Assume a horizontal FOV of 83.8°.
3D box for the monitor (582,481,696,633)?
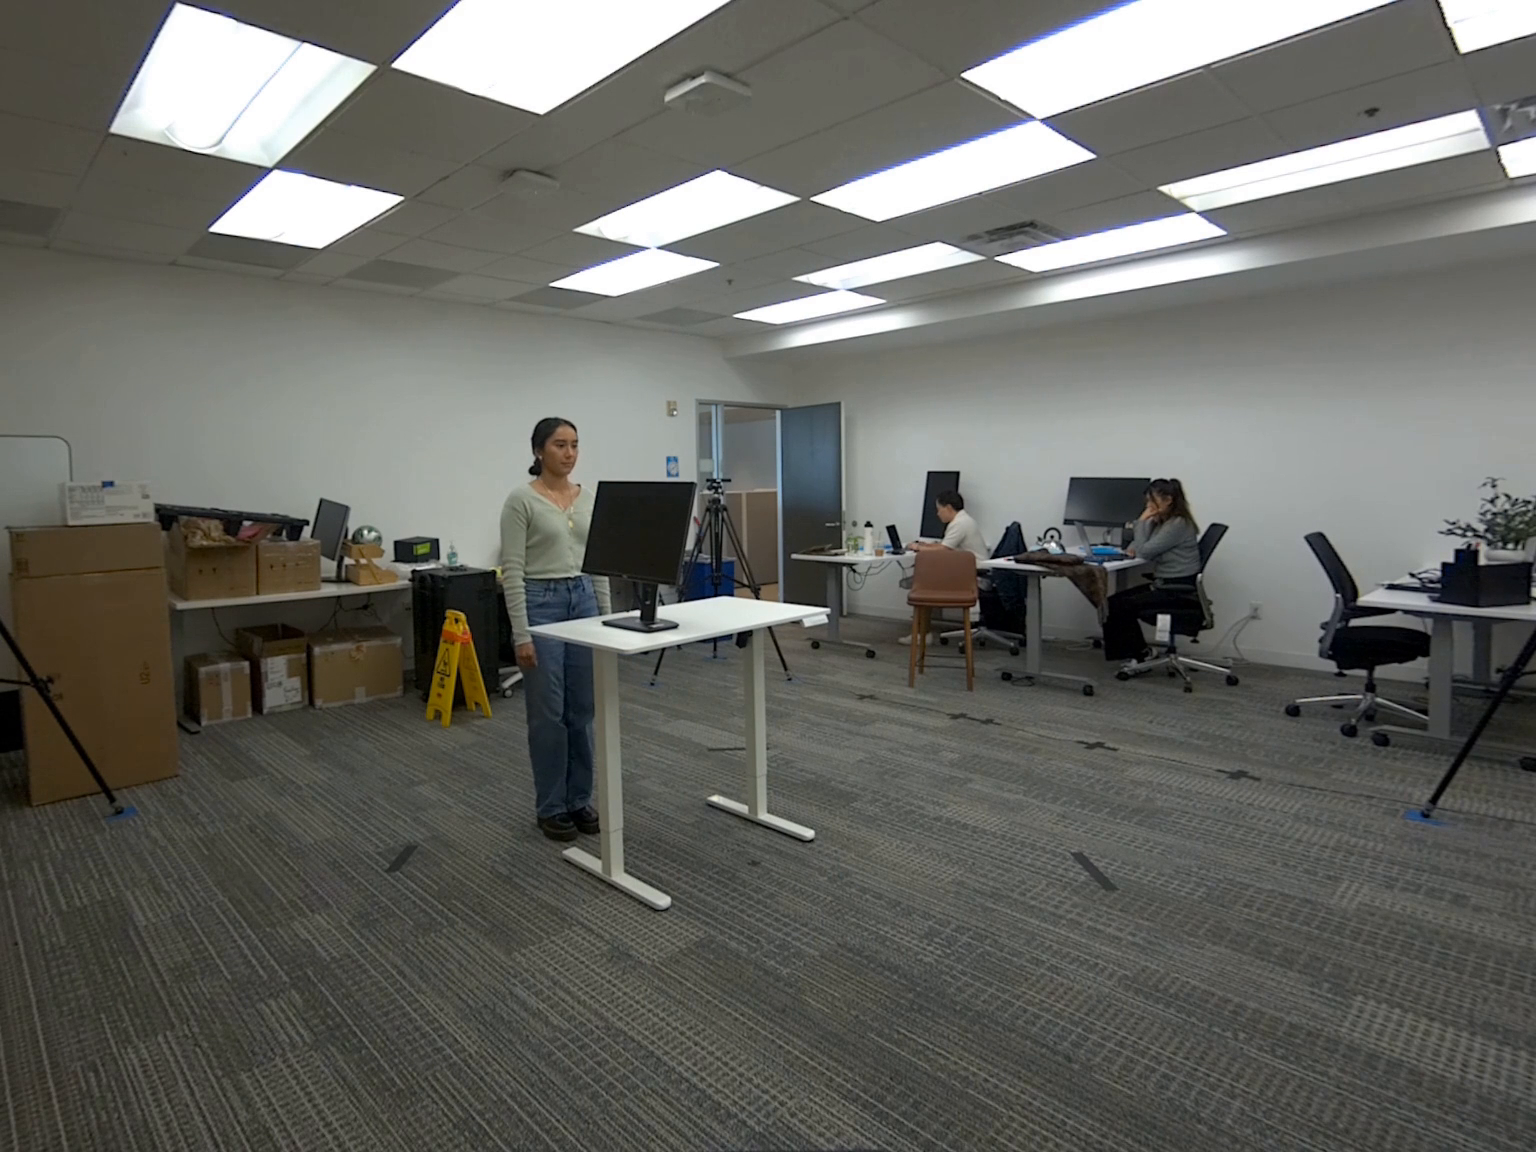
[{"bbox_3d":[-0.452,-0.078,3.032,0.547,0.513,0.170,6,10,43],"label":"monitor"}]
